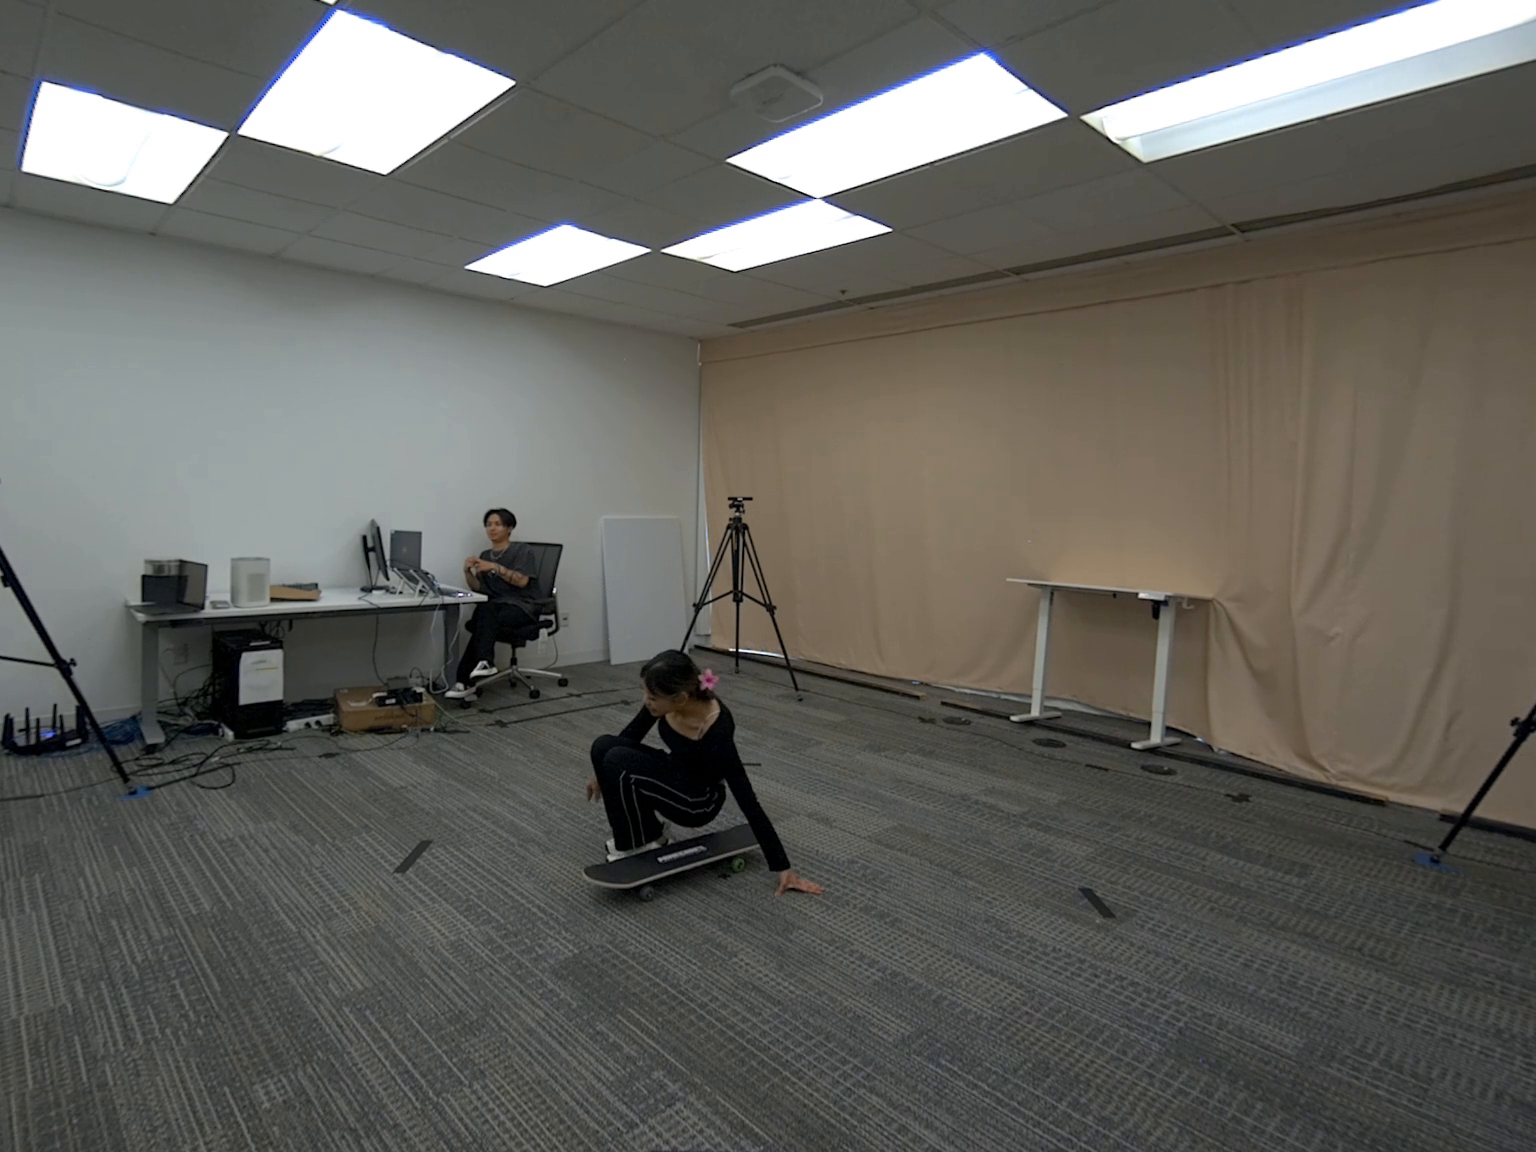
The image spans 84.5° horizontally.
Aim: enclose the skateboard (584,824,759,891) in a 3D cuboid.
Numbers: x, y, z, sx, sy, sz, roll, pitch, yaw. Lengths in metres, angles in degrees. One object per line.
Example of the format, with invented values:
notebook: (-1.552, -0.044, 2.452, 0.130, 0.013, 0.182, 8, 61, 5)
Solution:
skateboard: (-0.321, 1.045, 3.076, 0.768, 0.110, 0.198, -3, 6, -39)
